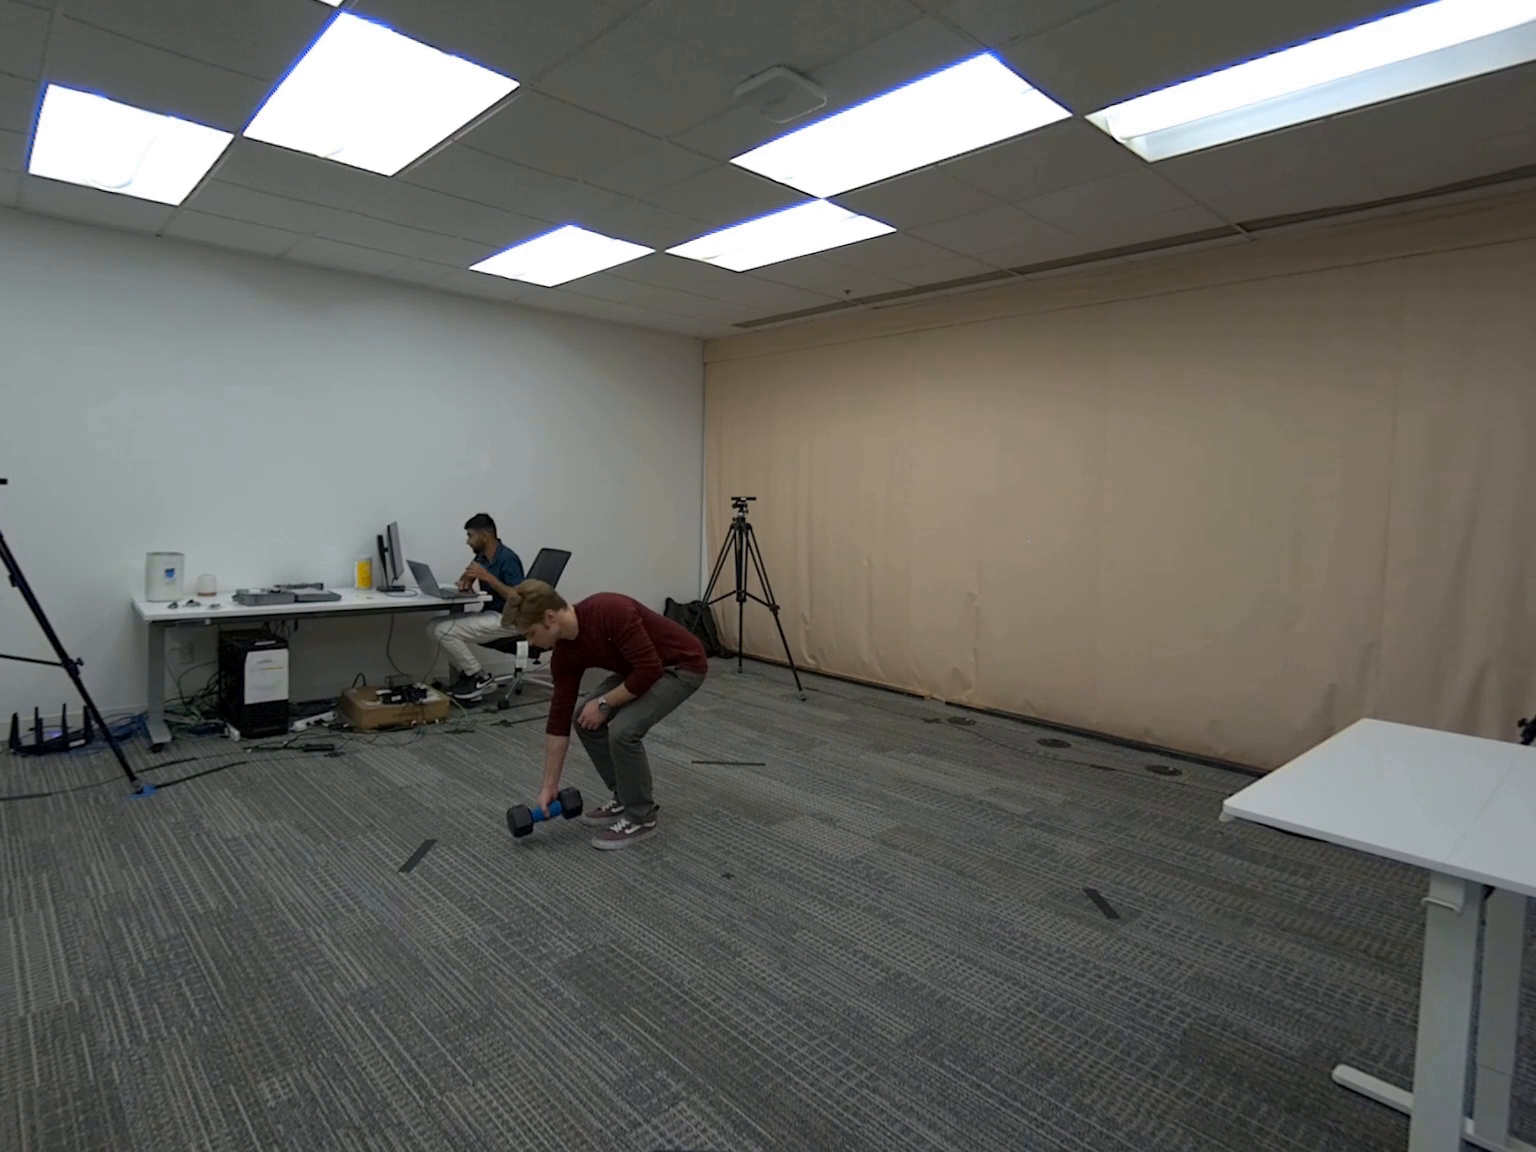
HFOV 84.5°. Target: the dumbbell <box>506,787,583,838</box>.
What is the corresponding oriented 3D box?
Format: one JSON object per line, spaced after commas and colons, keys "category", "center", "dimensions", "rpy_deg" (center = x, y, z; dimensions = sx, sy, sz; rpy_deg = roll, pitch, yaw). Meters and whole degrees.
{"category": "dumbbell", "center": [-0.907, 0.942, 3.392], "dimensions": [0.288, 0.125, 0.108], "rpy_deg": [-10, -23, -31]}
